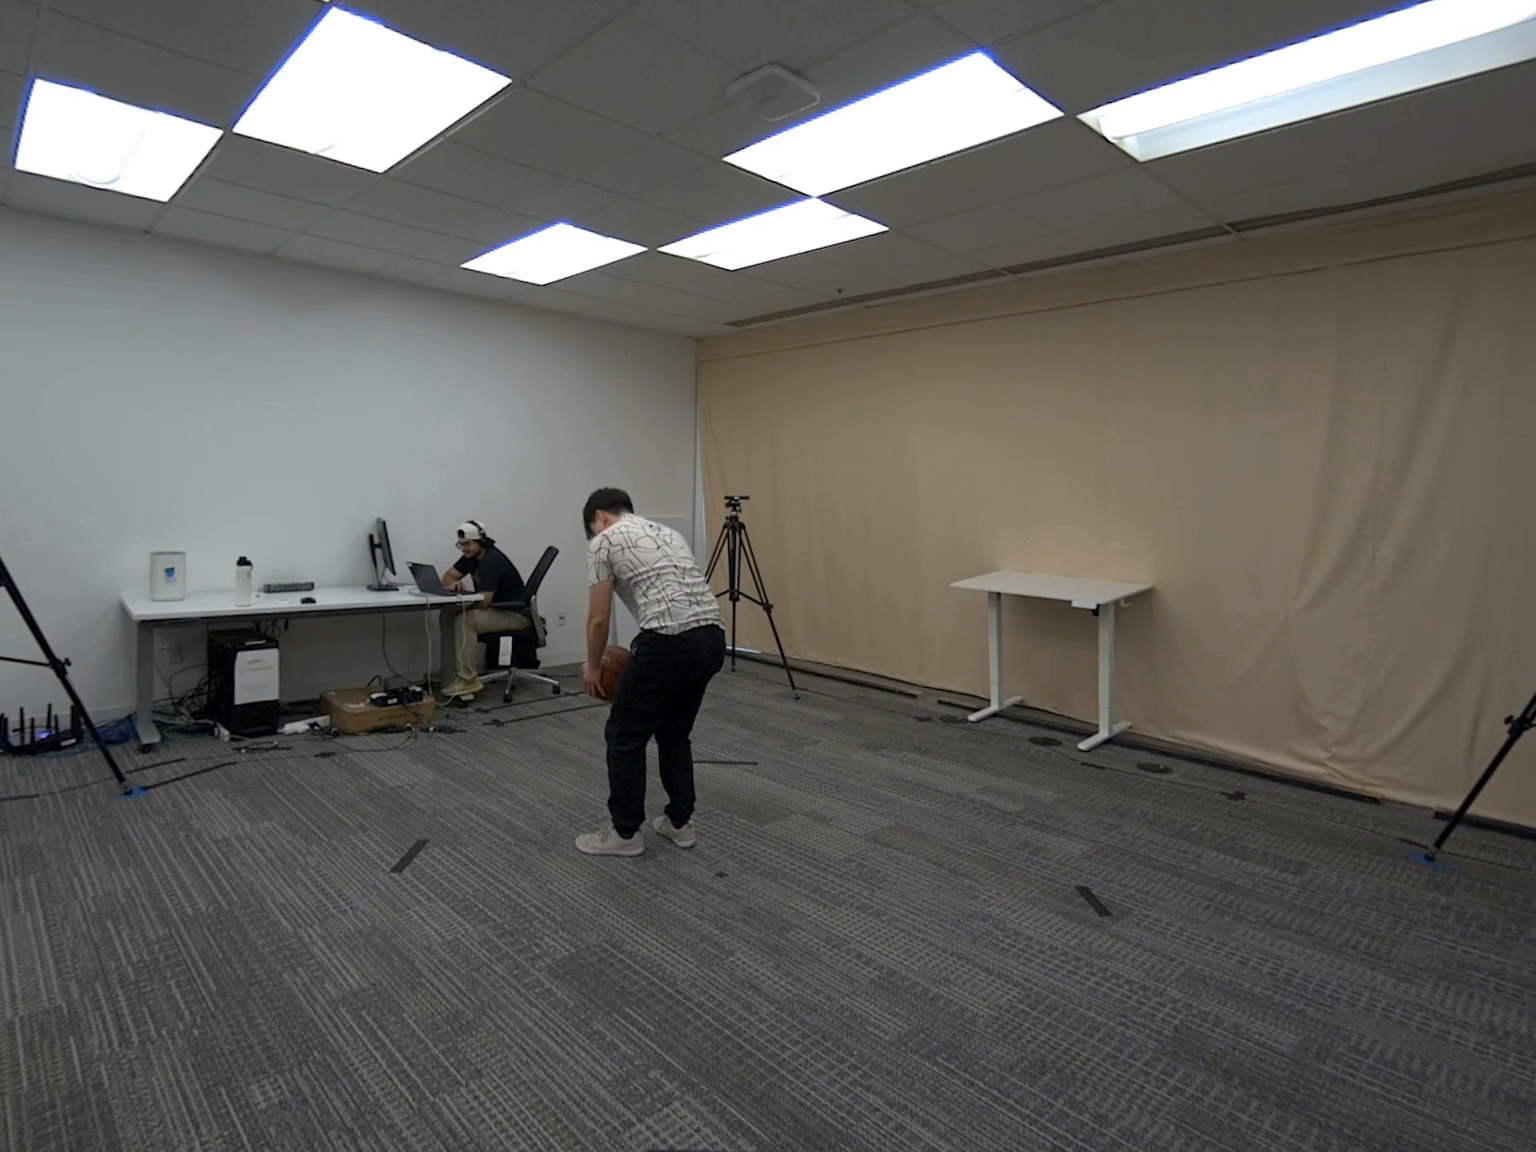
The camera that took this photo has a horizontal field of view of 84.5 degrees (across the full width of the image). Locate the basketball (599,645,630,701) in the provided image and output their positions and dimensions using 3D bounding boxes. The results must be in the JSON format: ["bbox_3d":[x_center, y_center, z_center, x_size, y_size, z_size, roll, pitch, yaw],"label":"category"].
[{"bbox_3d":[-0.663,0.424,3.570,0.236,0.235,0.237,1,4,-1],"label":"basketball"}]
